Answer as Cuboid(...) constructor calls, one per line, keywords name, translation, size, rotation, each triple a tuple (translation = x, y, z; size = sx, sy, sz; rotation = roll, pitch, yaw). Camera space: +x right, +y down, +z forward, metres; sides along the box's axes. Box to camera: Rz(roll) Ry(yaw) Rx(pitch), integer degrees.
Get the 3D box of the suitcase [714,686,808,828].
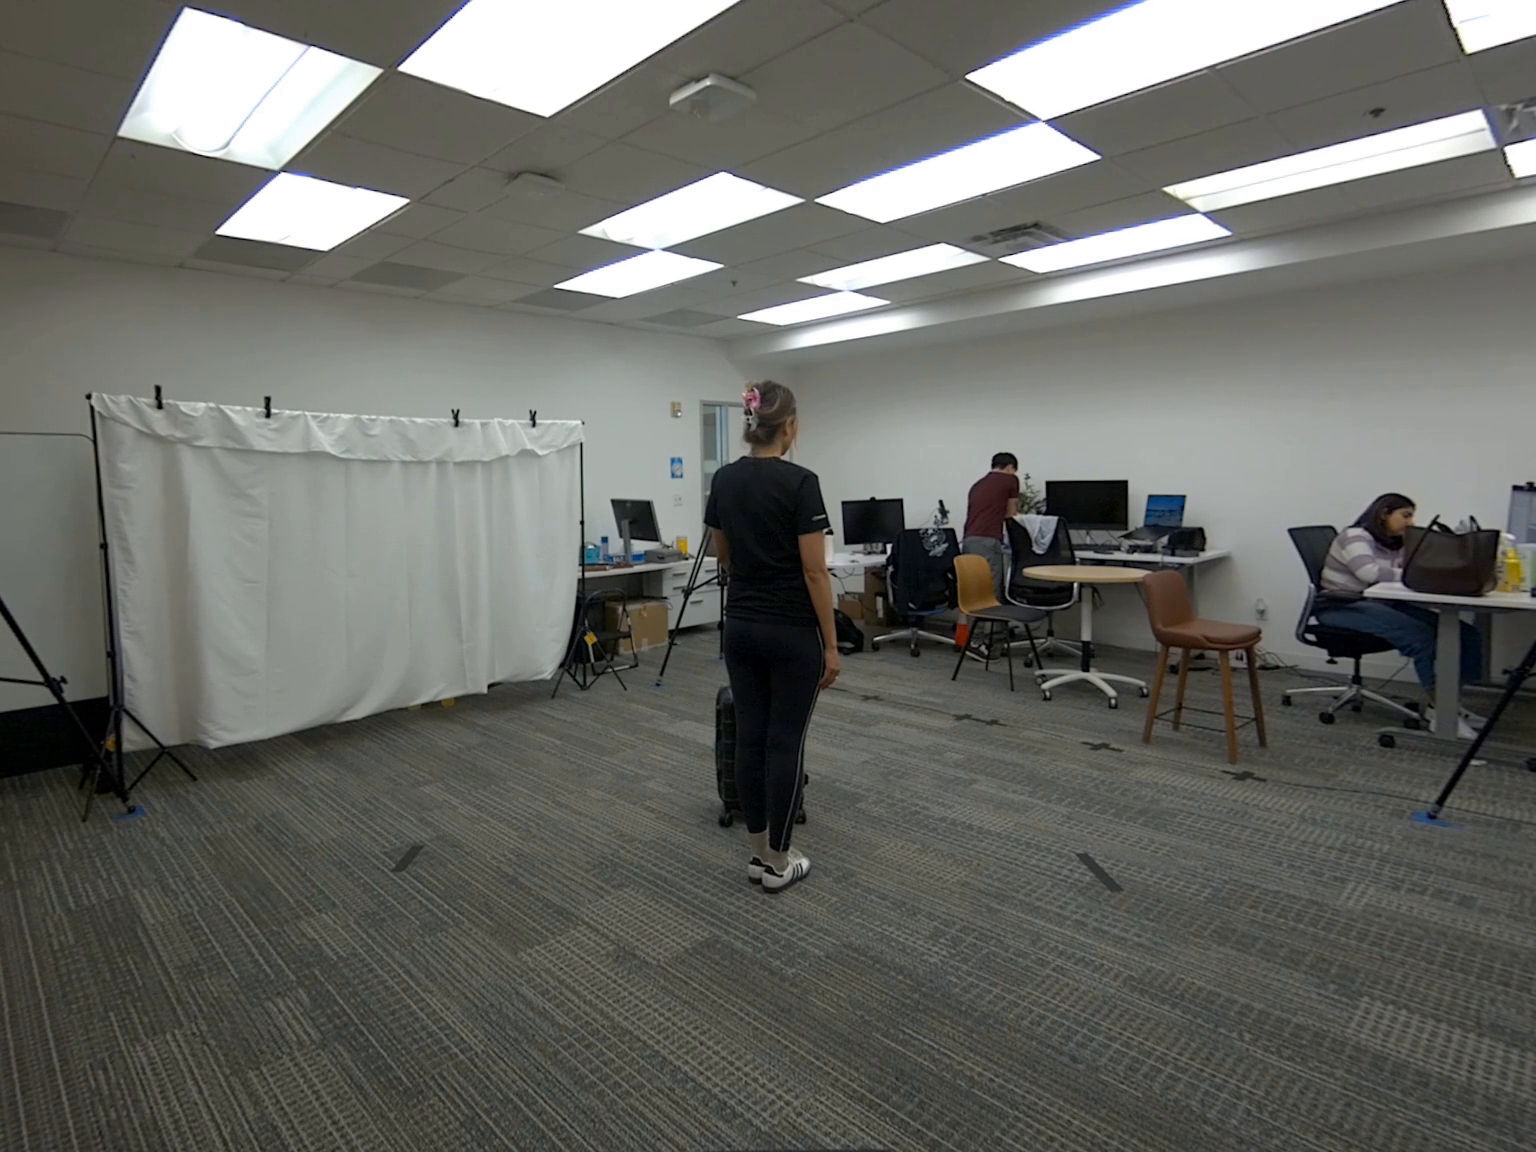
Cuboid(name="suitcase", translation=(-0.035, 0.519, 3.568), size=(0.383, 0.979, 0.258), rotation=(-1, 0, -4))
